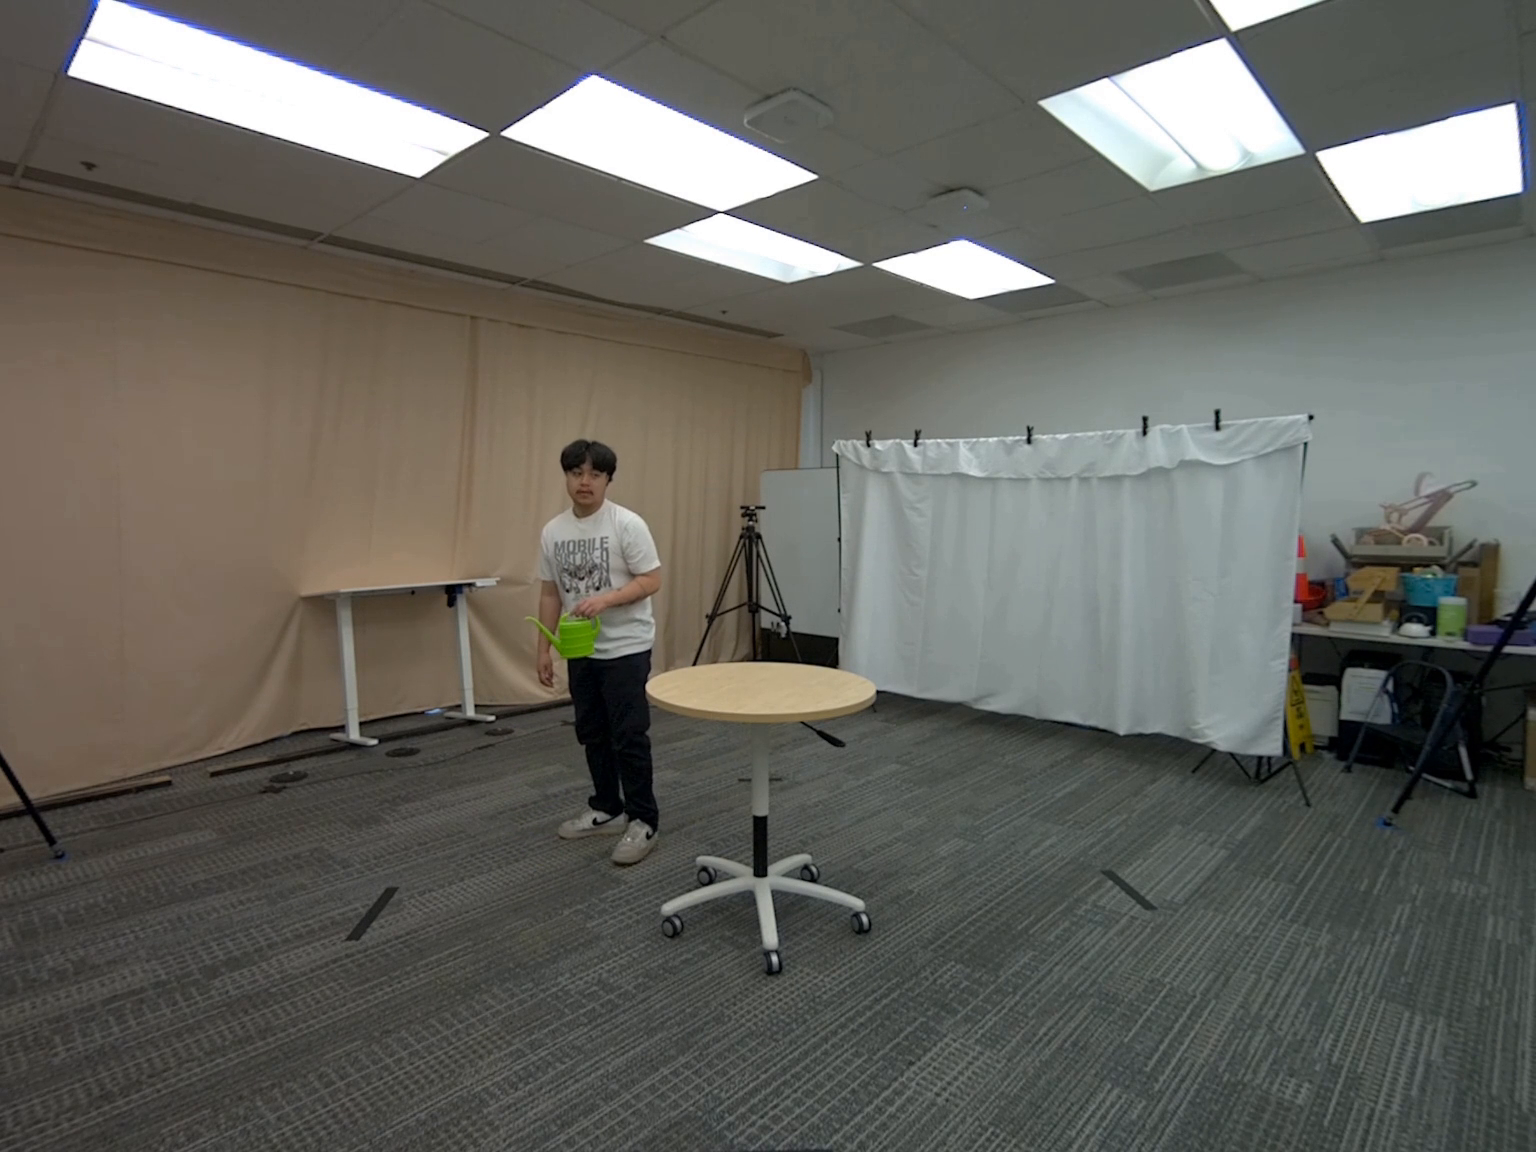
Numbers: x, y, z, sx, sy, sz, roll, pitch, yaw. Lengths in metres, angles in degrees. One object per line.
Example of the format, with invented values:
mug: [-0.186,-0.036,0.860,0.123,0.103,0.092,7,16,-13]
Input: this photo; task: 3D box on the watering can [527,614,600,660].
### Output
watering can: [-0.785,0.224,3.234,0.276,0.176,0.099,-5,5,-6]
